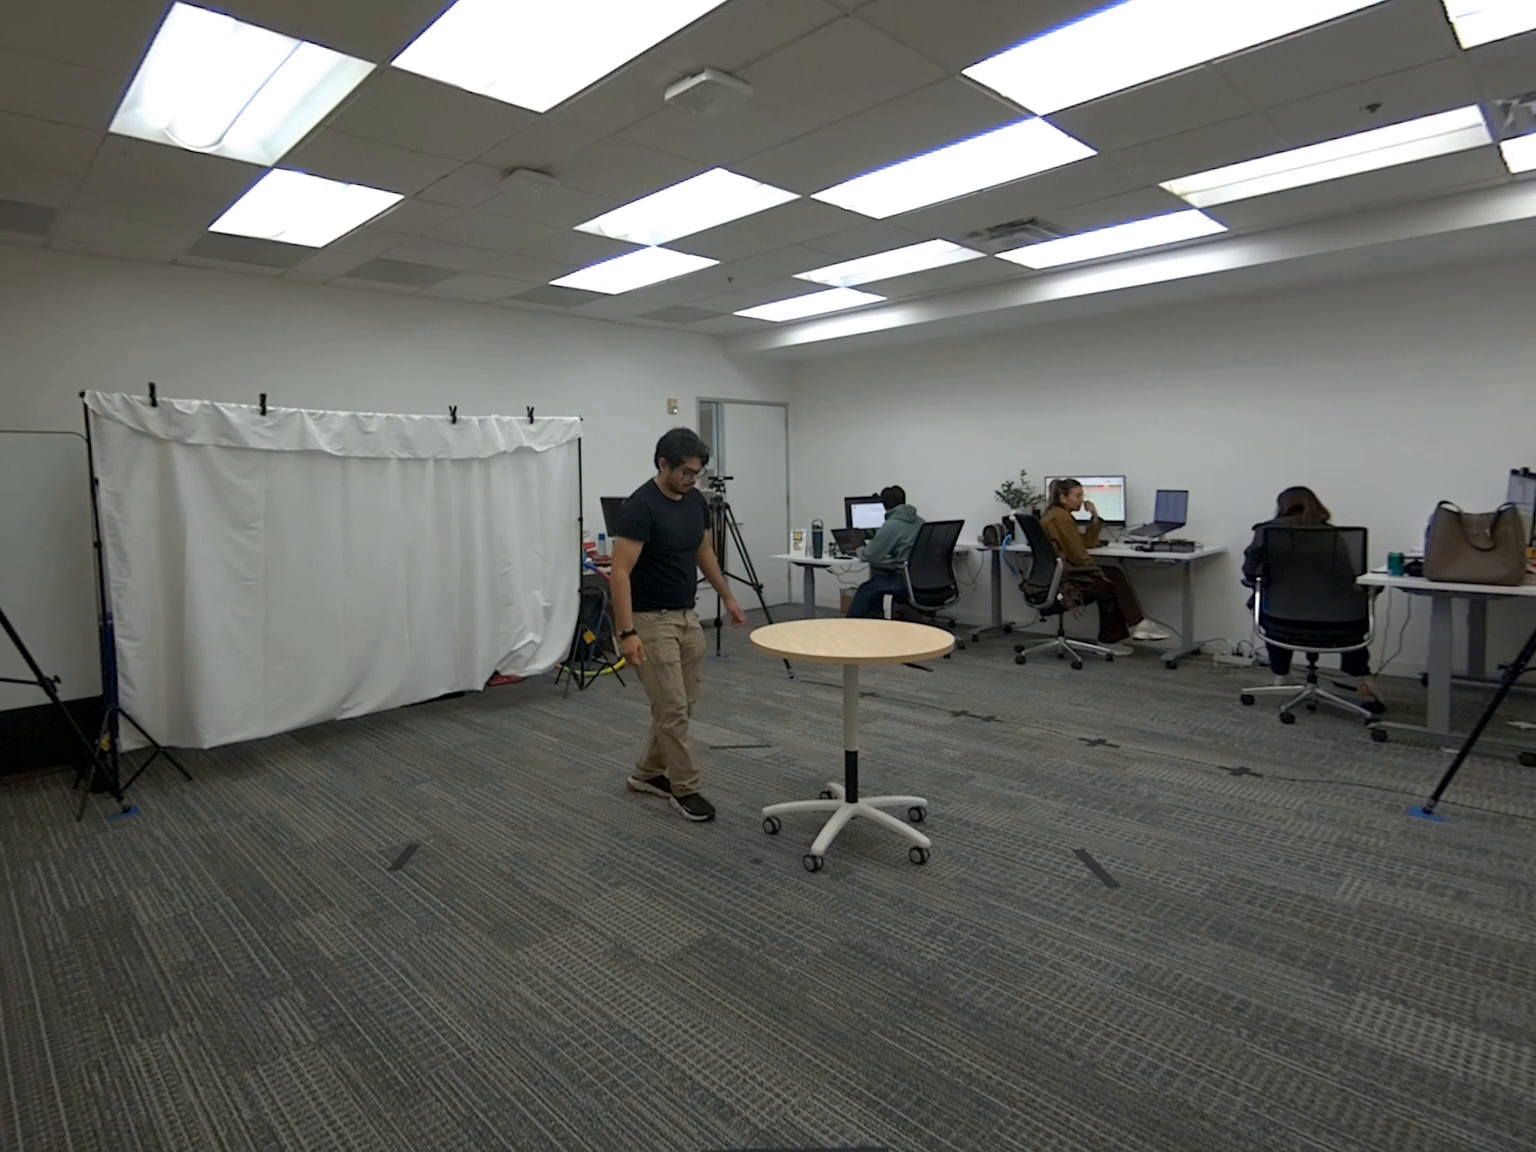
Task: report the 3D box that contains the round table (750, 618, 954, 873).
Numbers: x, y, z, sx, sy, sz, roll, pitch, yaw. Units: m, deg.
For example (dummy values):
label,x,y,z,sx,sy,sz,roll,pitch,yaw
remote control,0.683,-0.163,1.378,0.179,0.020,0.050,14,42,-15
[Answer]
label,x,y,z,sx,sy,sz,roll,pitch,yaw
round table,0.304,0.615,3.277,0.784,0.783,0.789,-1,5,-2
